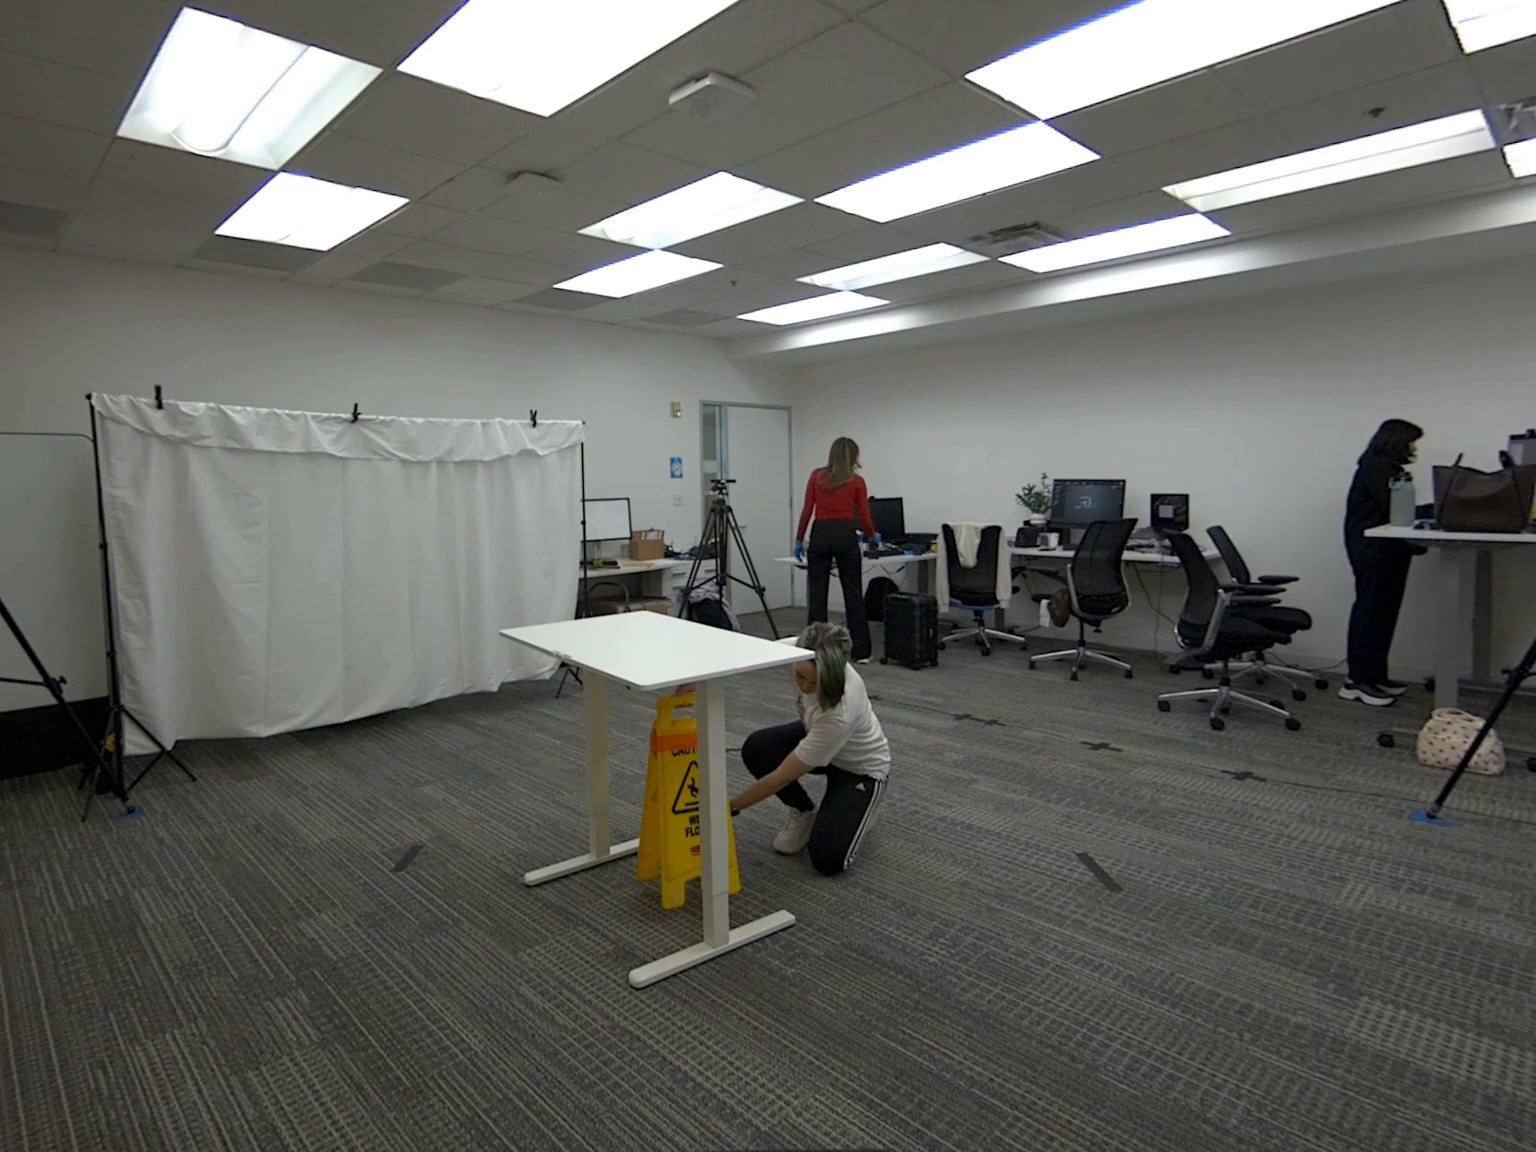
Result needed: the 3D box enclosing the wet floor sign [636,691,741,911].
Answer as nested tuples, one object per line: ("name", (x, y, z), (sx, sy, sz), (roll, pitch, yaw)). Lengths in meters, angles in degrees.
("wet floor sign", (-0.278, 0.720, 2.874), (0.276, 0.646, 0.296), (-1, -1, -28))
